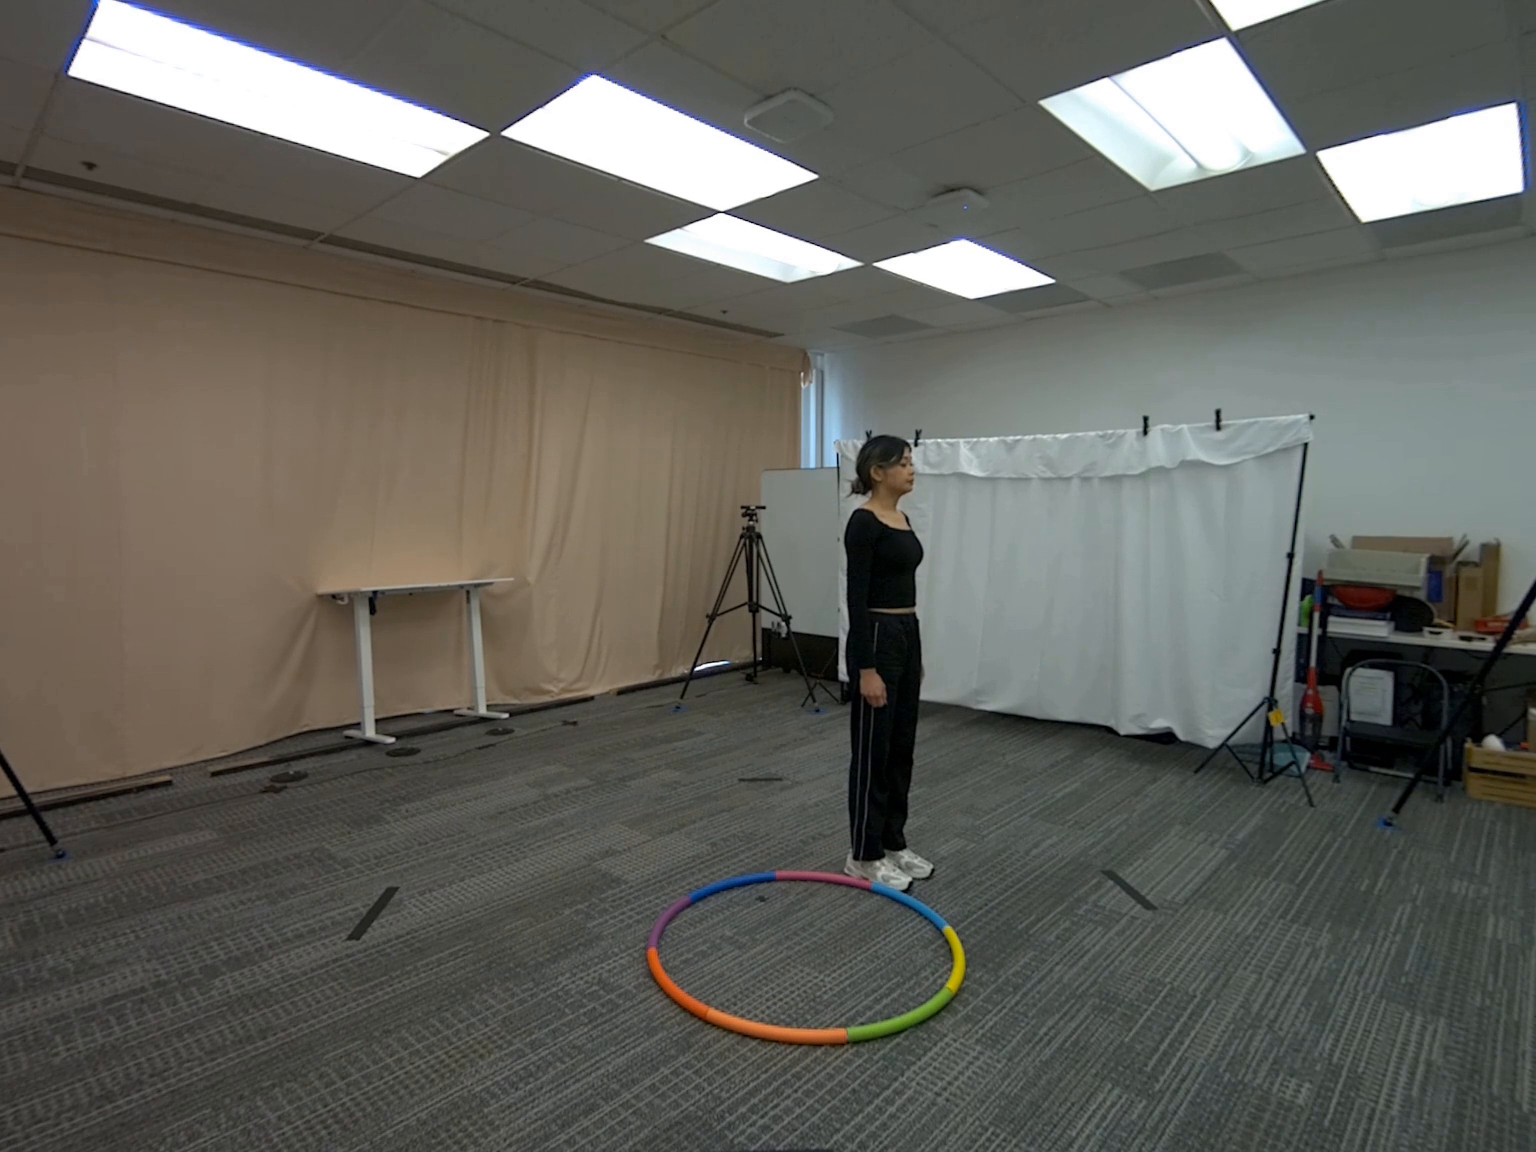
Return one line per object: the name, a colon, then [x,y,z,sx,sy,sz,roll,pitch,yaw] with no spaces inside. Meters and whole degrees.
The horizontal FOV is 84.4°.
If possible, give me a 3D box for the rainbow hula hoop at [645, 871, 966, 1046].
rainbow hula hoop: [0.109,1.139,2.658,0.978,0.035,0.982,0,5,-2]
